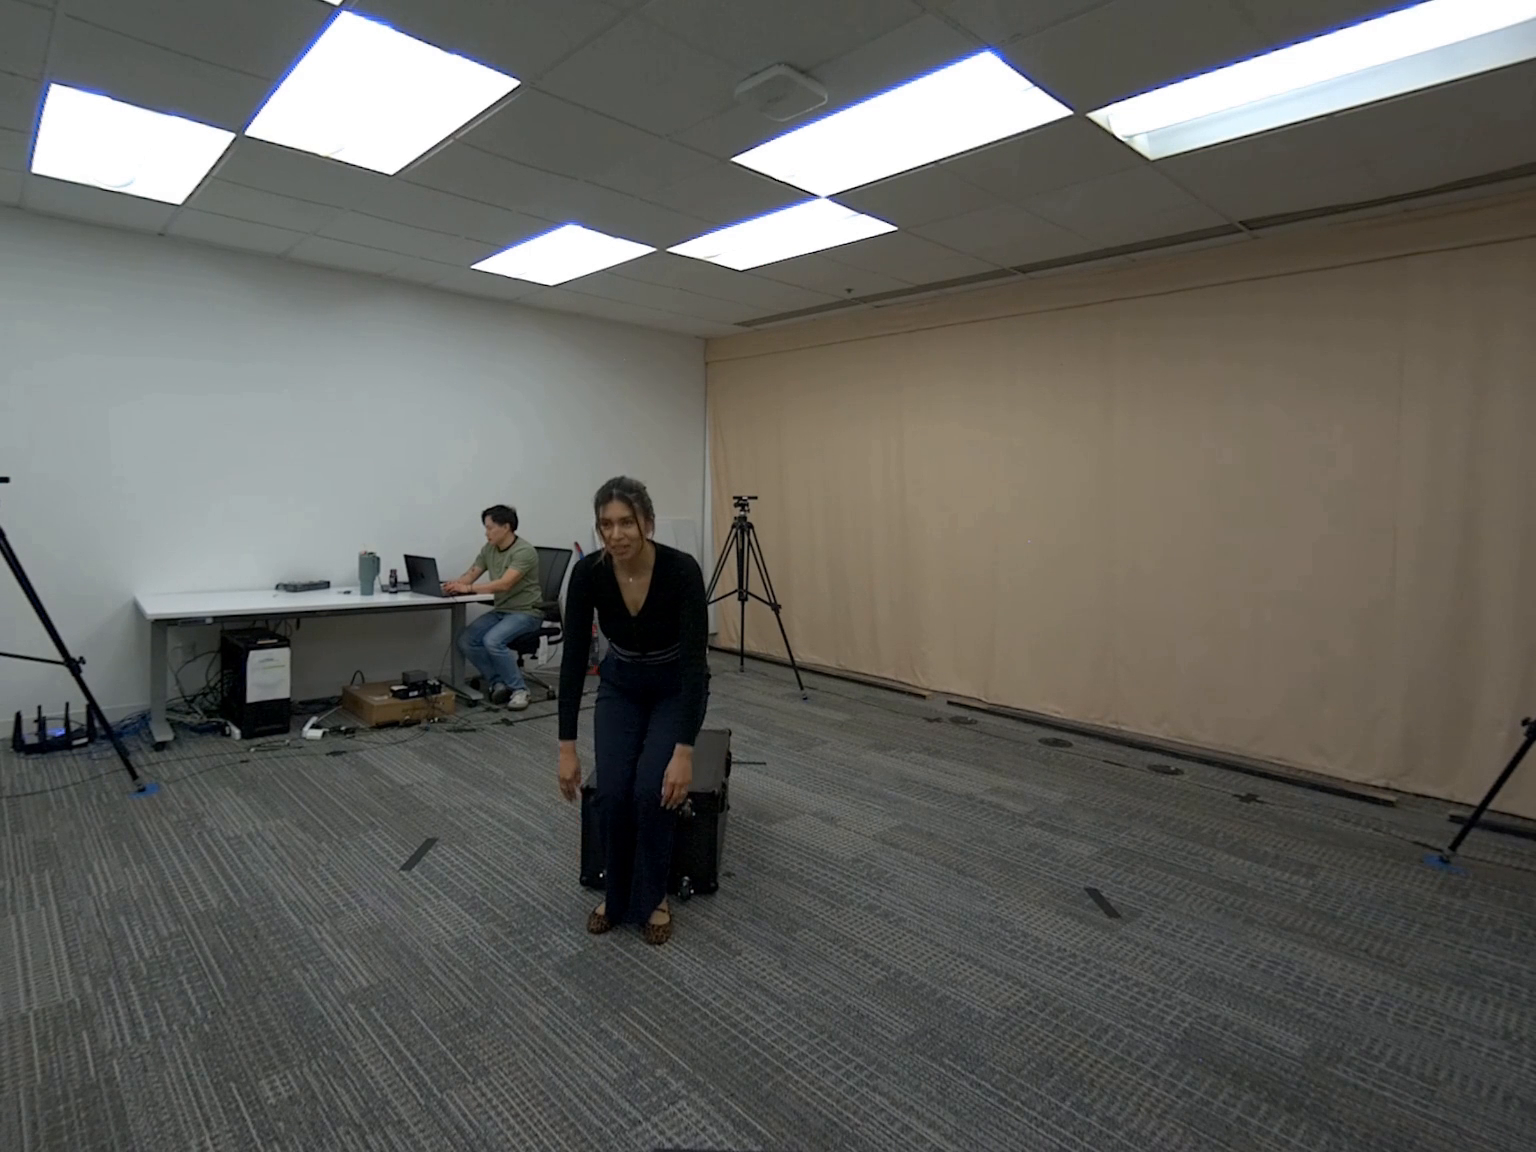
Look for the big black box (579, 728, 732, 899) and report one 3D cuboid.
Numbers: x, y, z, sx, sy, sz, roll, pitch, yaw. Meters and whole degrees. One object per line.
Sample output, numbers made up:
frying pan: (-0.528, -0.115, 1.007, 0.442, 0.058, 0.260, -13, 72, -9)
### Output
big black box: (-0.418, 0.890, 3.278, 0.522, 0.395, 0.863, 2, 5, 1)
